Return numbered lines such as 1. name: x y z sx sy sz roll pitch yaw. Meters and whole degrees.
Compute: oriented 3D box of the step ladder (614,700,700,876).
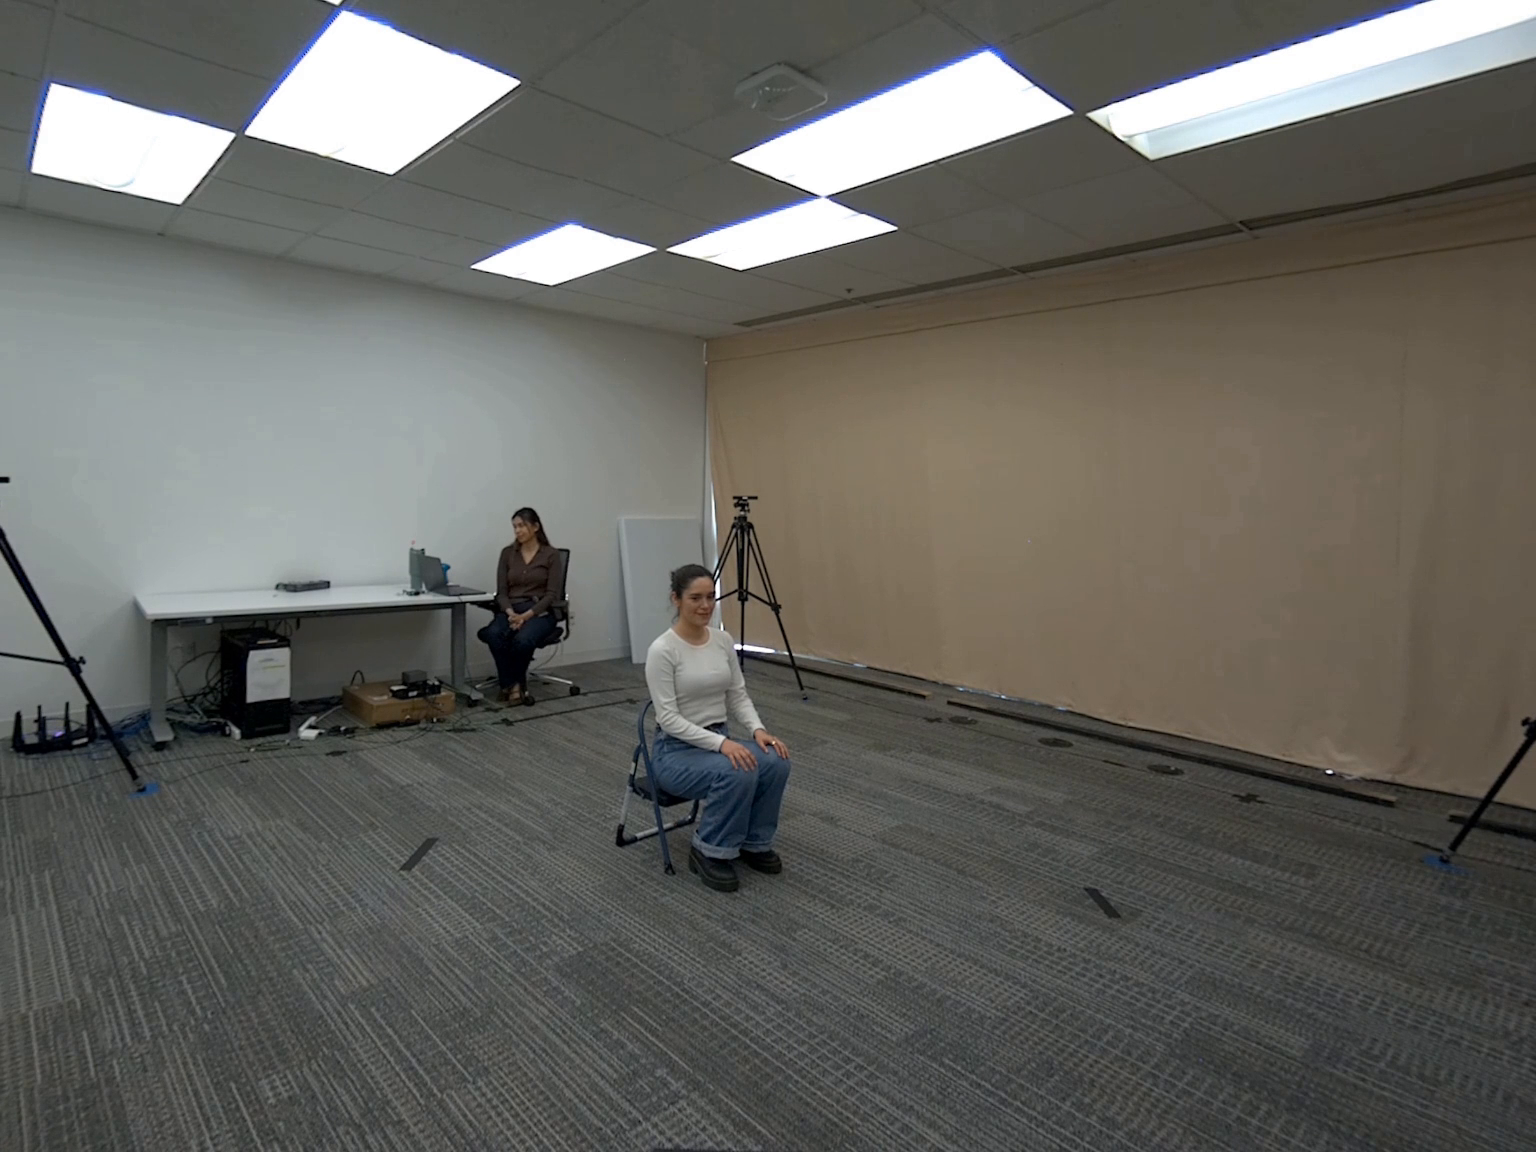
1. step ladder: -0.342 0.771 3.348 0.358 0.605 0.421 5 5 44
